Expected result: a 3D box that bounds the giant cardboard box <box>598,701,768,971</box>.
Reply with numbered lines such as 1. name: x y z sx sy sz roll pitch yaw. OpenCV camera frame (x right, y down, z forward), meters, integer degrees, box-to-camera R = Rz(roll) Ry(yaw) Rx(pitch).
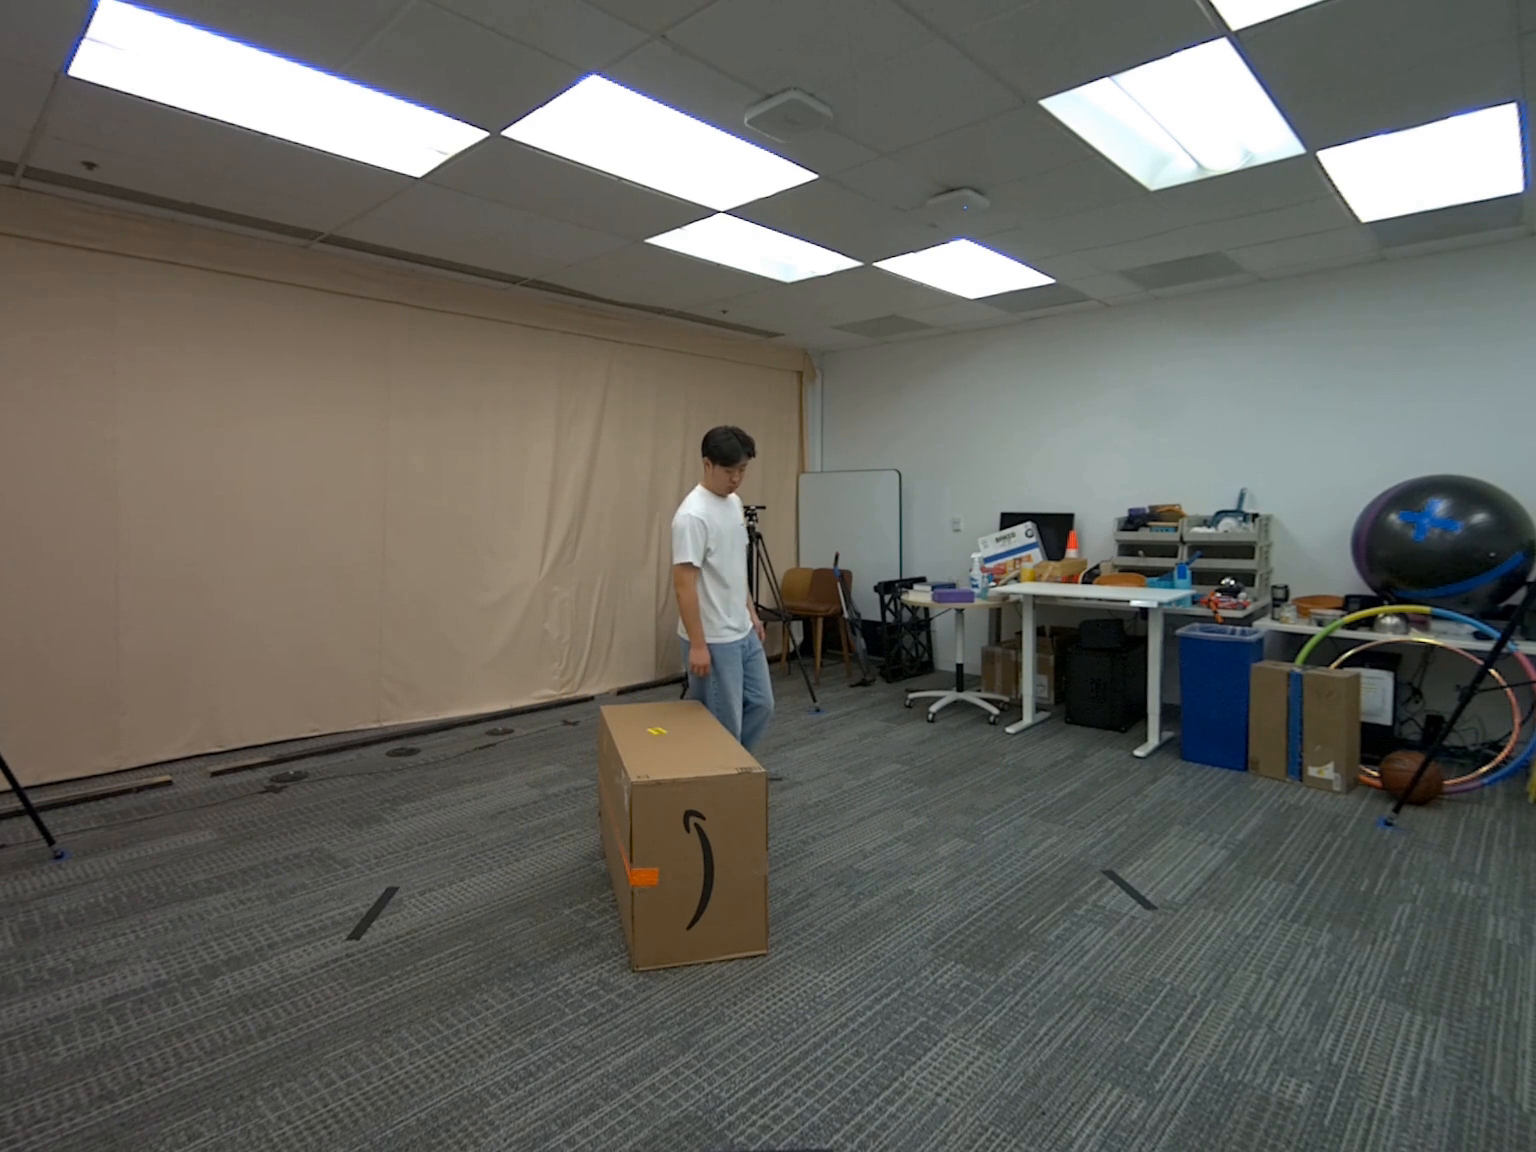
1. giant cardboard box: -0.353 0.852 3.036 0.420 0.576 1.044 -1 4 -16
